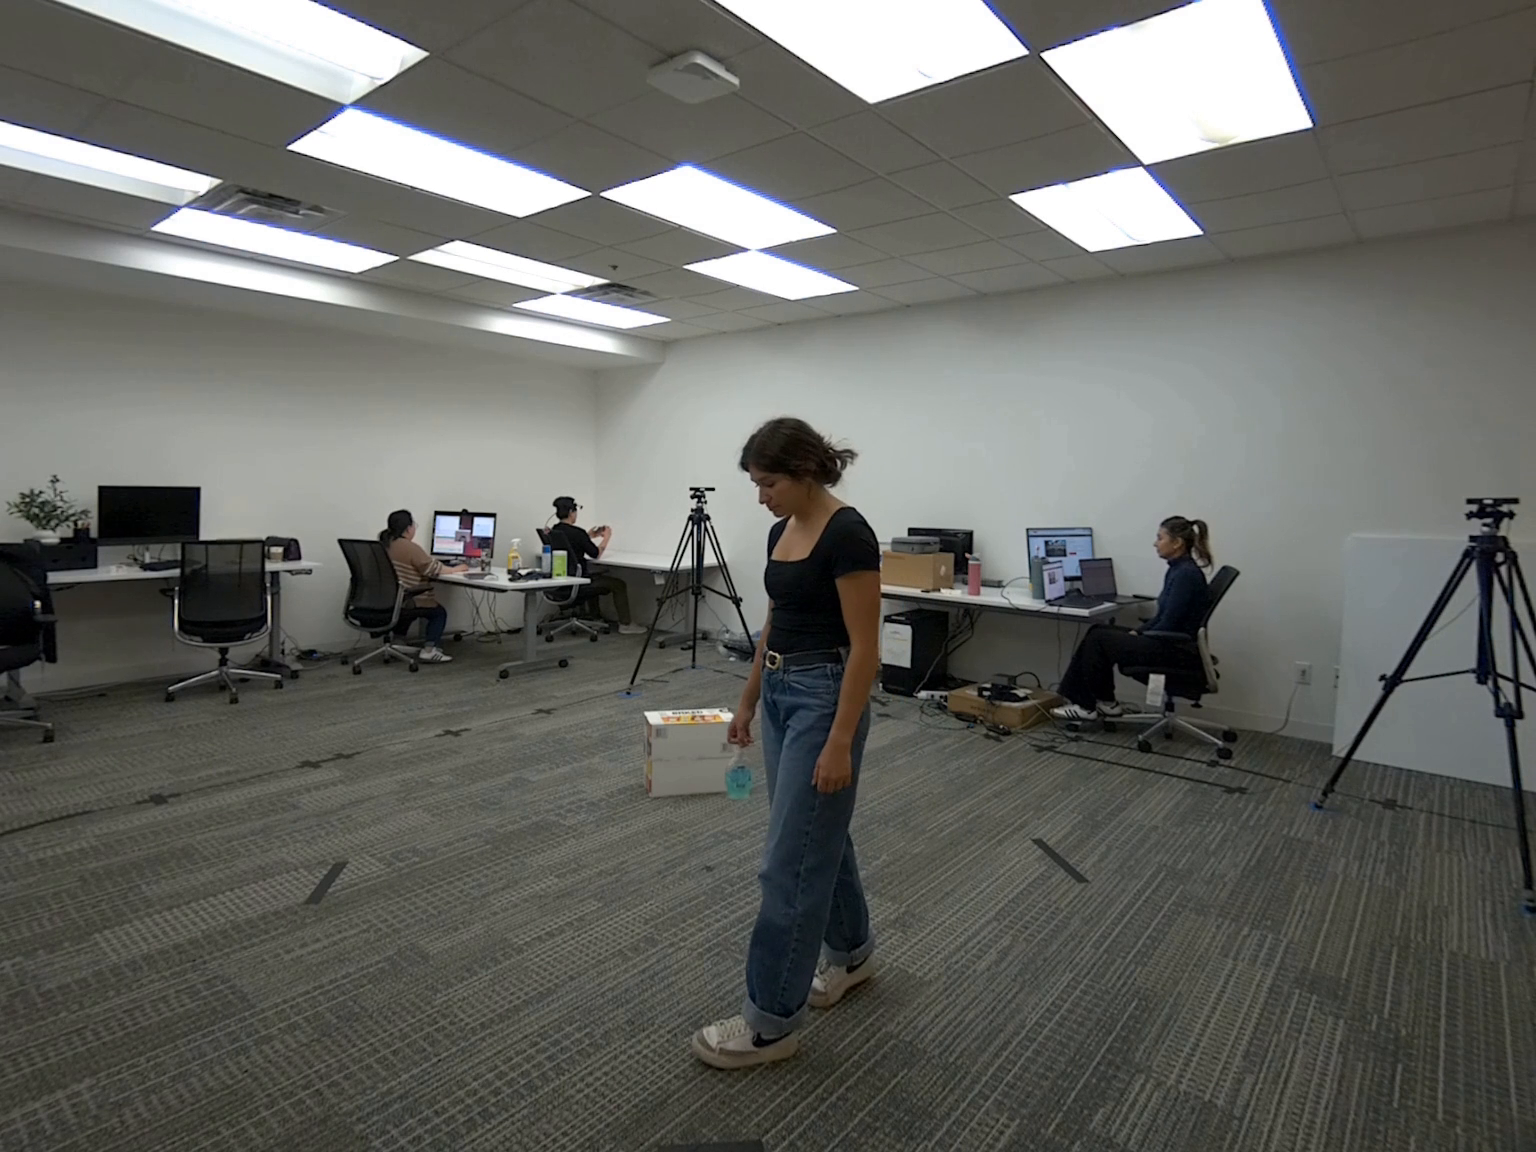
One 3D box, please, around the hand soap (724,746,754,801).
[{"bbox_3d":[-0.086,0.544,2.406,0.083,0.168,0.044,-2,0,-18],"label":"hand soap"}]
